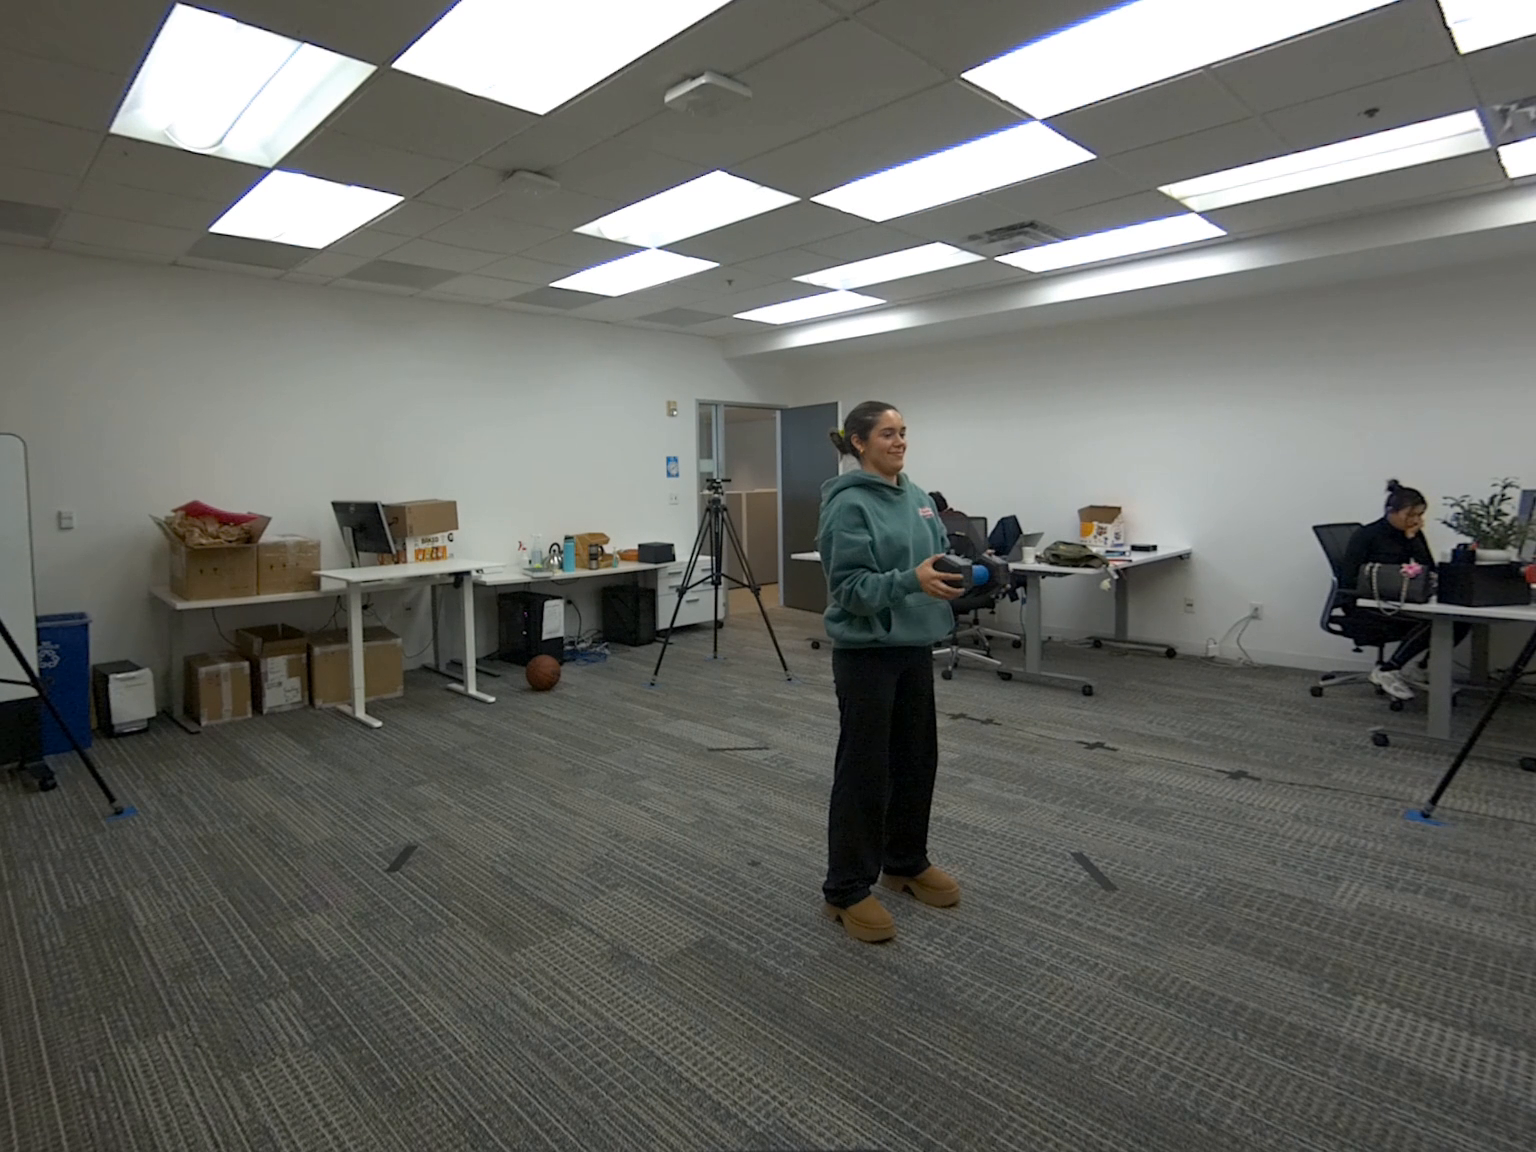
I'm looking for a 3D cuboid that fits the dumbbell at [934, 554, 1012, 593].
[{"bbox_3d":[0.583,-0.001,2.517,0.285,0.107,0.128,-2,30,-45],"label":"dumbbell"}]
